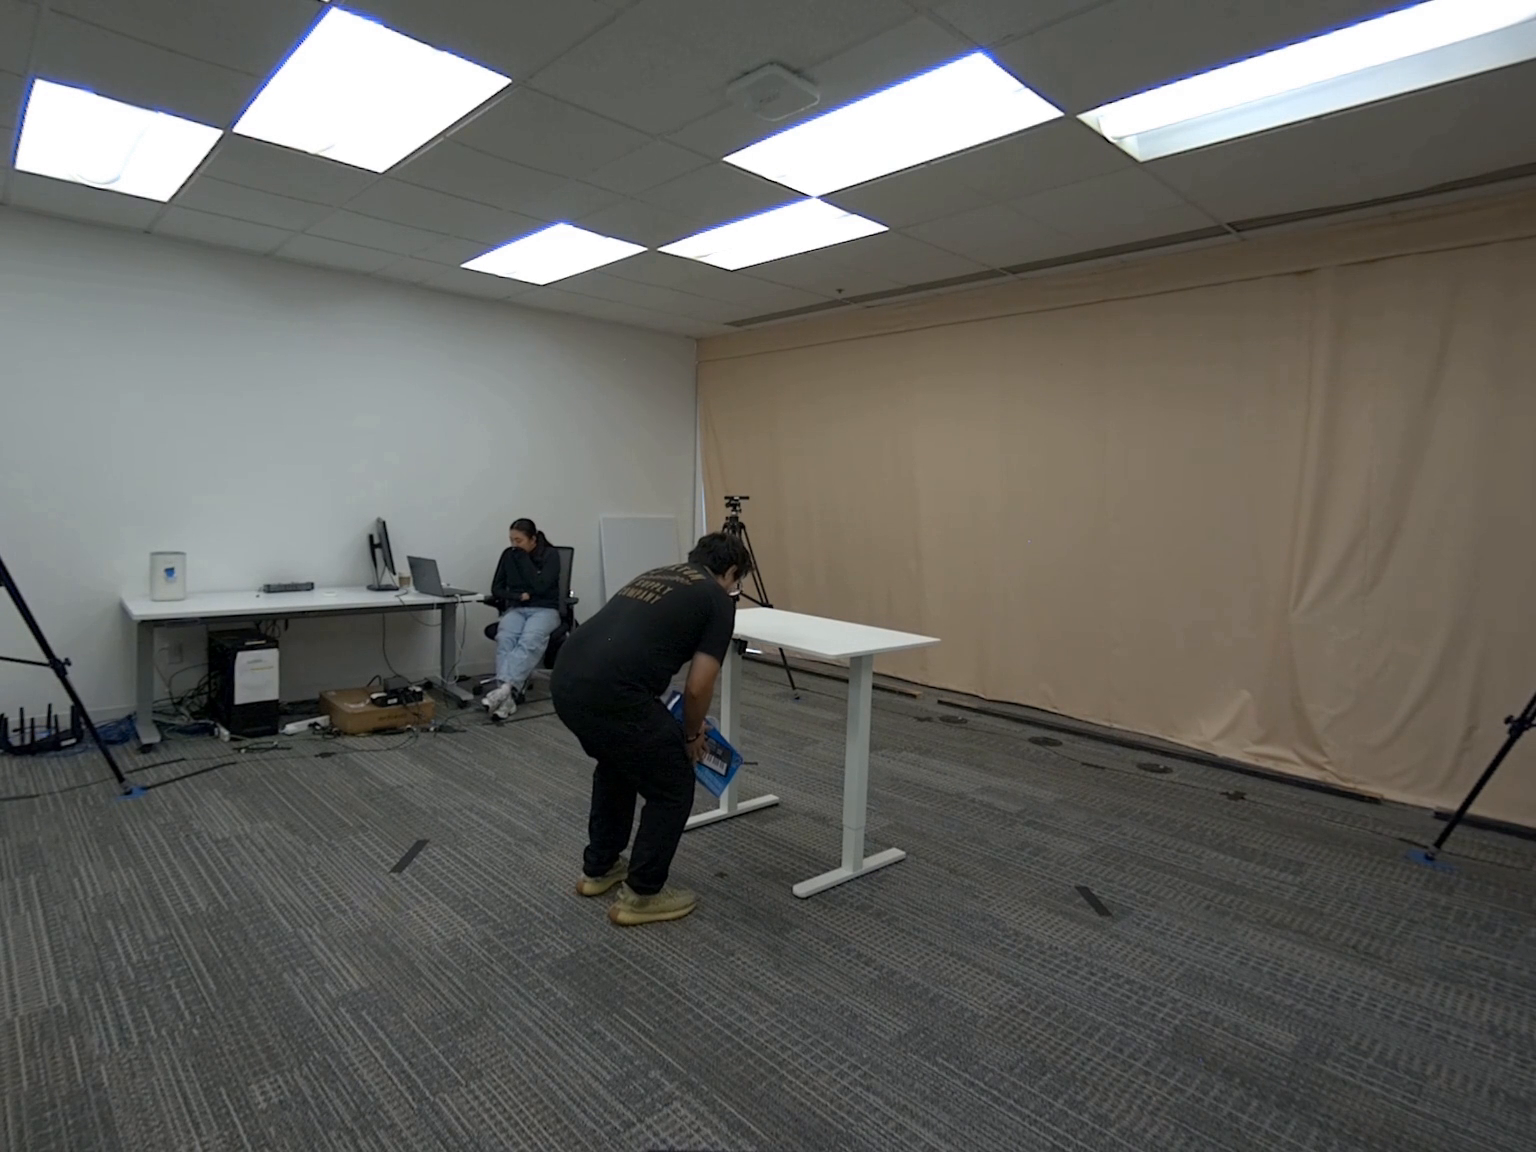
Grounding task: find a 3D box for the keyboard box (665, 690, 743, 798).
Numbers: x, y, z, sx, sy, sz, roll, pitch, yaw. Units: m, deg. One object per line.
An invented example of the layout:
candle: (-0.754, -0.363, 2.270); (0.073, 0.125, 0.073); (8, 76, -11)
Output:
keyboard box: (-0.259, 0.617, 3.032); (0.061, 0.176, 0.424); (9, -35, 46)
